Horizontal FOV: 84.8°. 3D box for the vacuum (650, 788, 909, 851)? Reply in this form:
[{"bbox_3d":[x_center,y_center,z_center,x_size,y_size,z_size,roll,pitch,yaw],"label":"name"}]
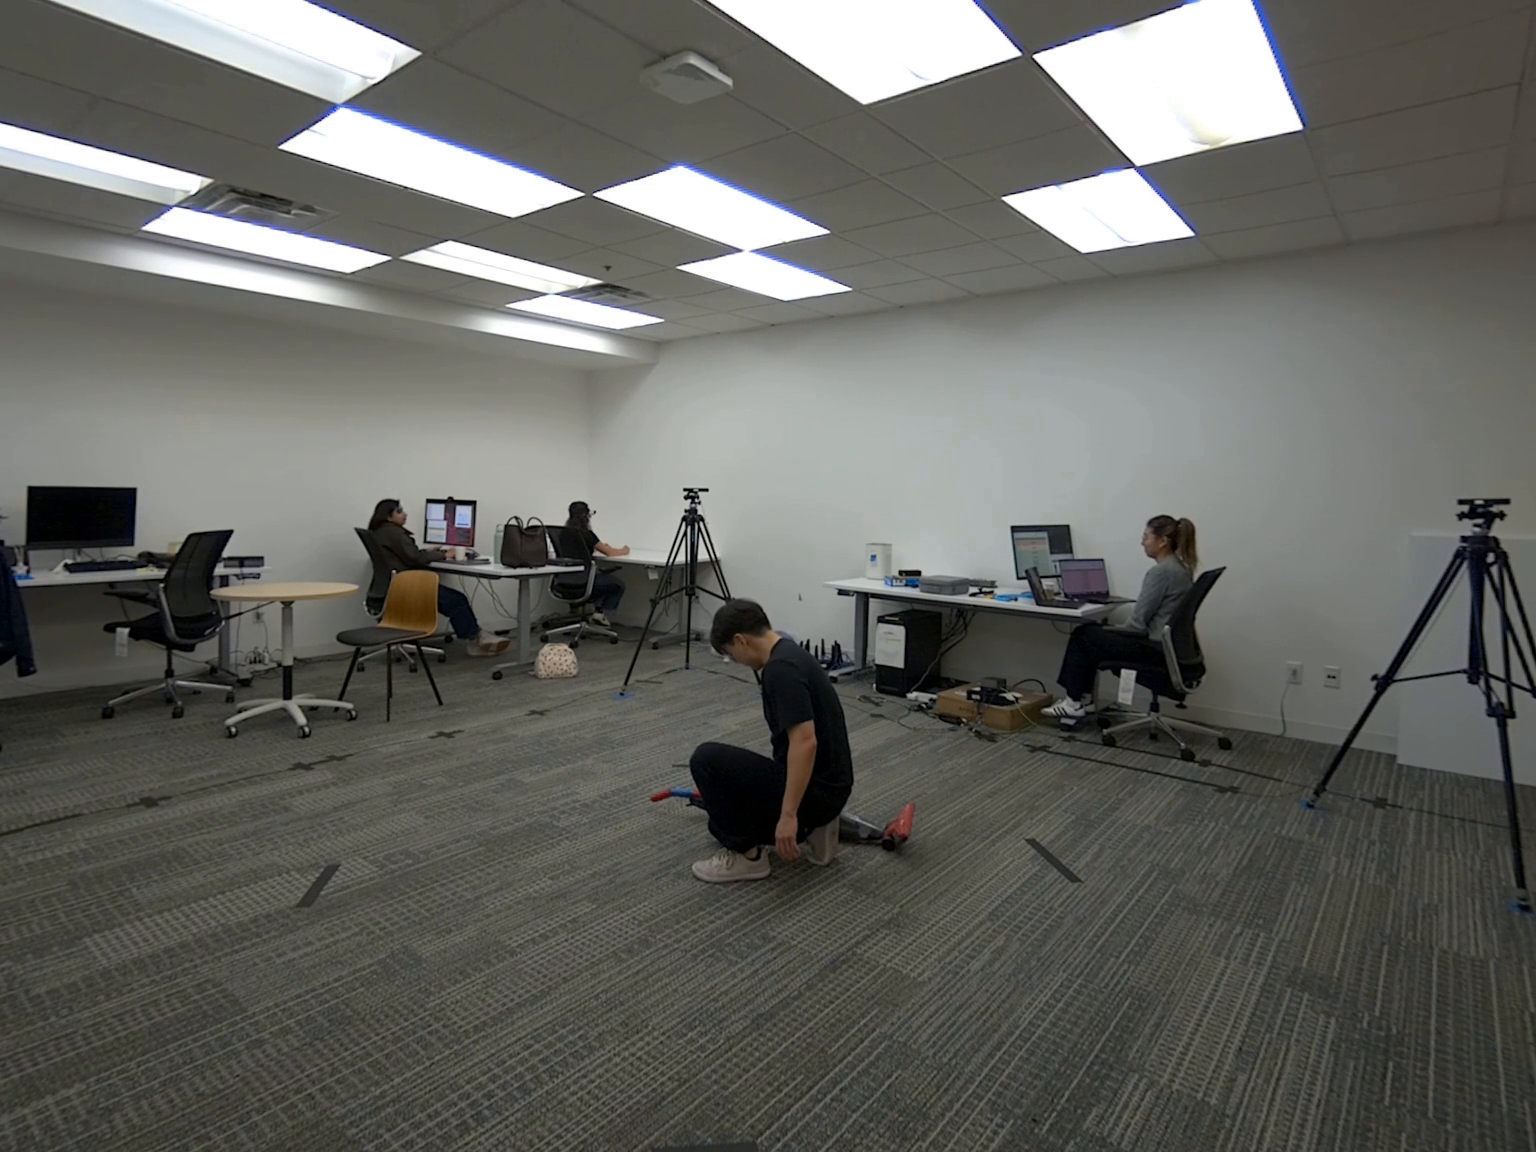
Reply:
[{"bbox_3d":[0.006,0.974,3.506,1.068,0.142,0.252,2,16,17],"label":"vacuum"}]
